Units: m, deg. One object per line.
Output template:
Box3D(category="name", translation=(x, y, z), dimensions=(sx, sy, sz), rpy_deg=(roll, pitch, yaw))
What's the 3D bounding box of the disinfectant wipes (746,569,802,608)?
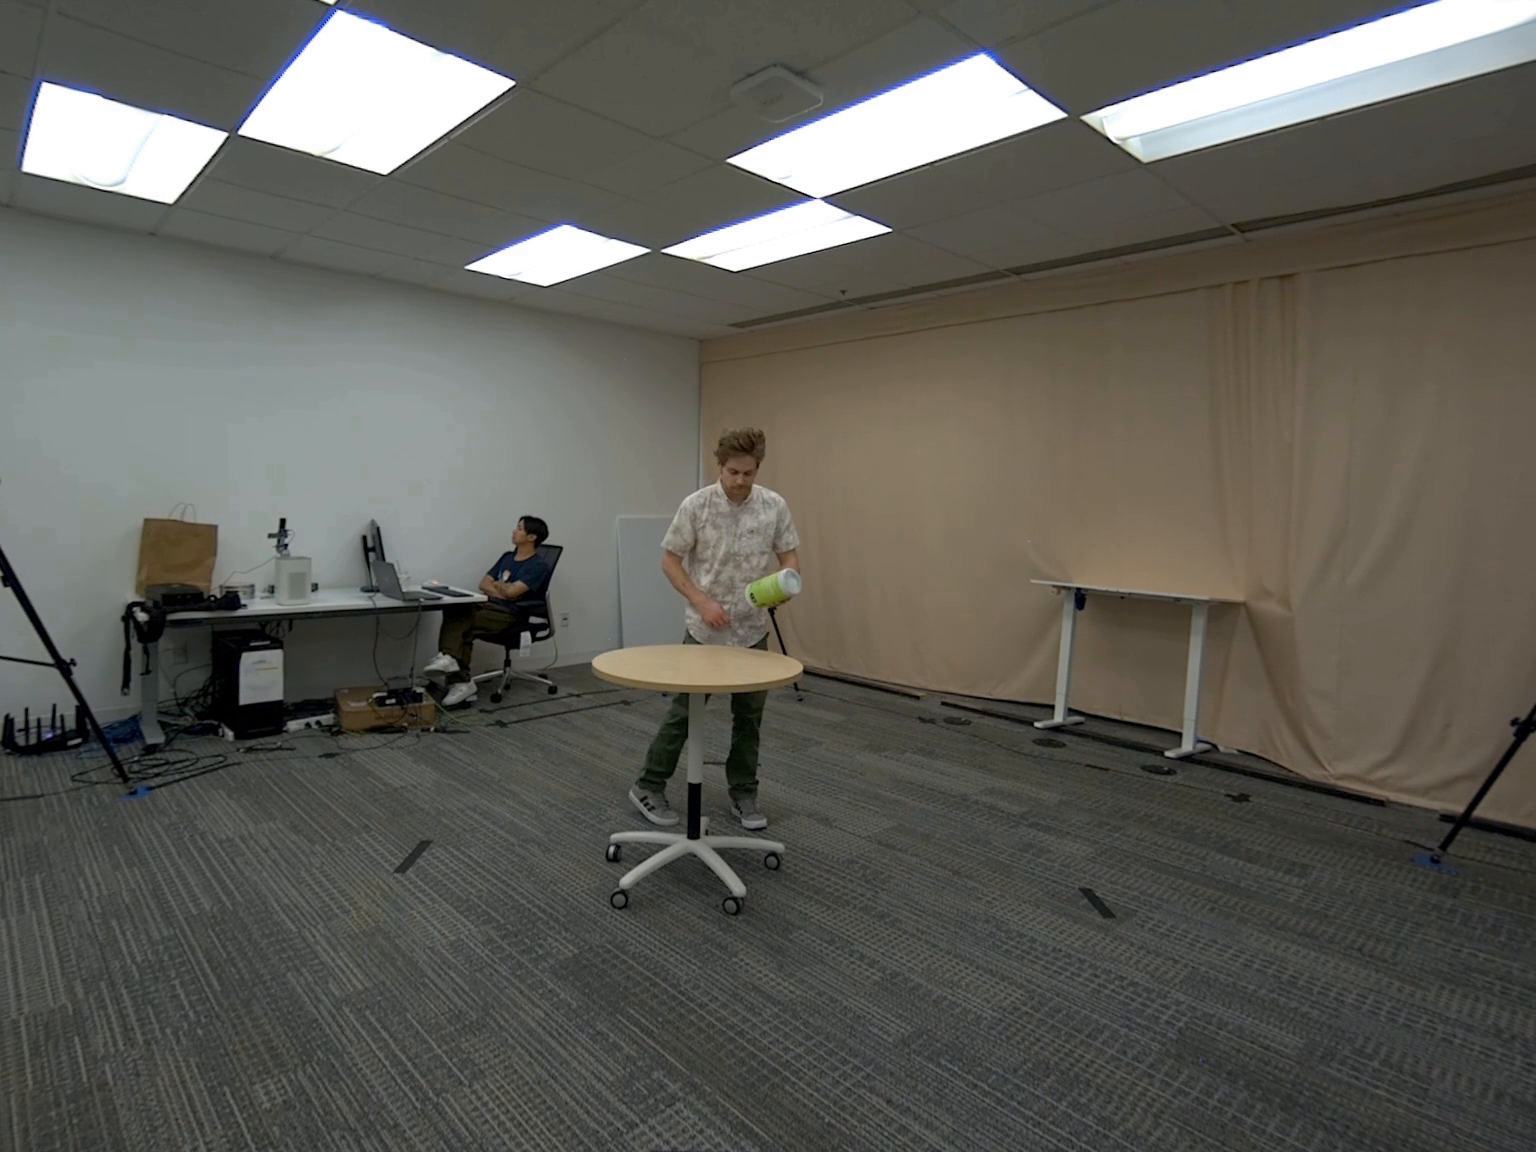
Box3D(category="disinfectant wipes", translation=(0.007, 0.049, 3.302), dimensions=(0.220, 0.119, 0.115), rpy_deg=(-22, -12, 40))
